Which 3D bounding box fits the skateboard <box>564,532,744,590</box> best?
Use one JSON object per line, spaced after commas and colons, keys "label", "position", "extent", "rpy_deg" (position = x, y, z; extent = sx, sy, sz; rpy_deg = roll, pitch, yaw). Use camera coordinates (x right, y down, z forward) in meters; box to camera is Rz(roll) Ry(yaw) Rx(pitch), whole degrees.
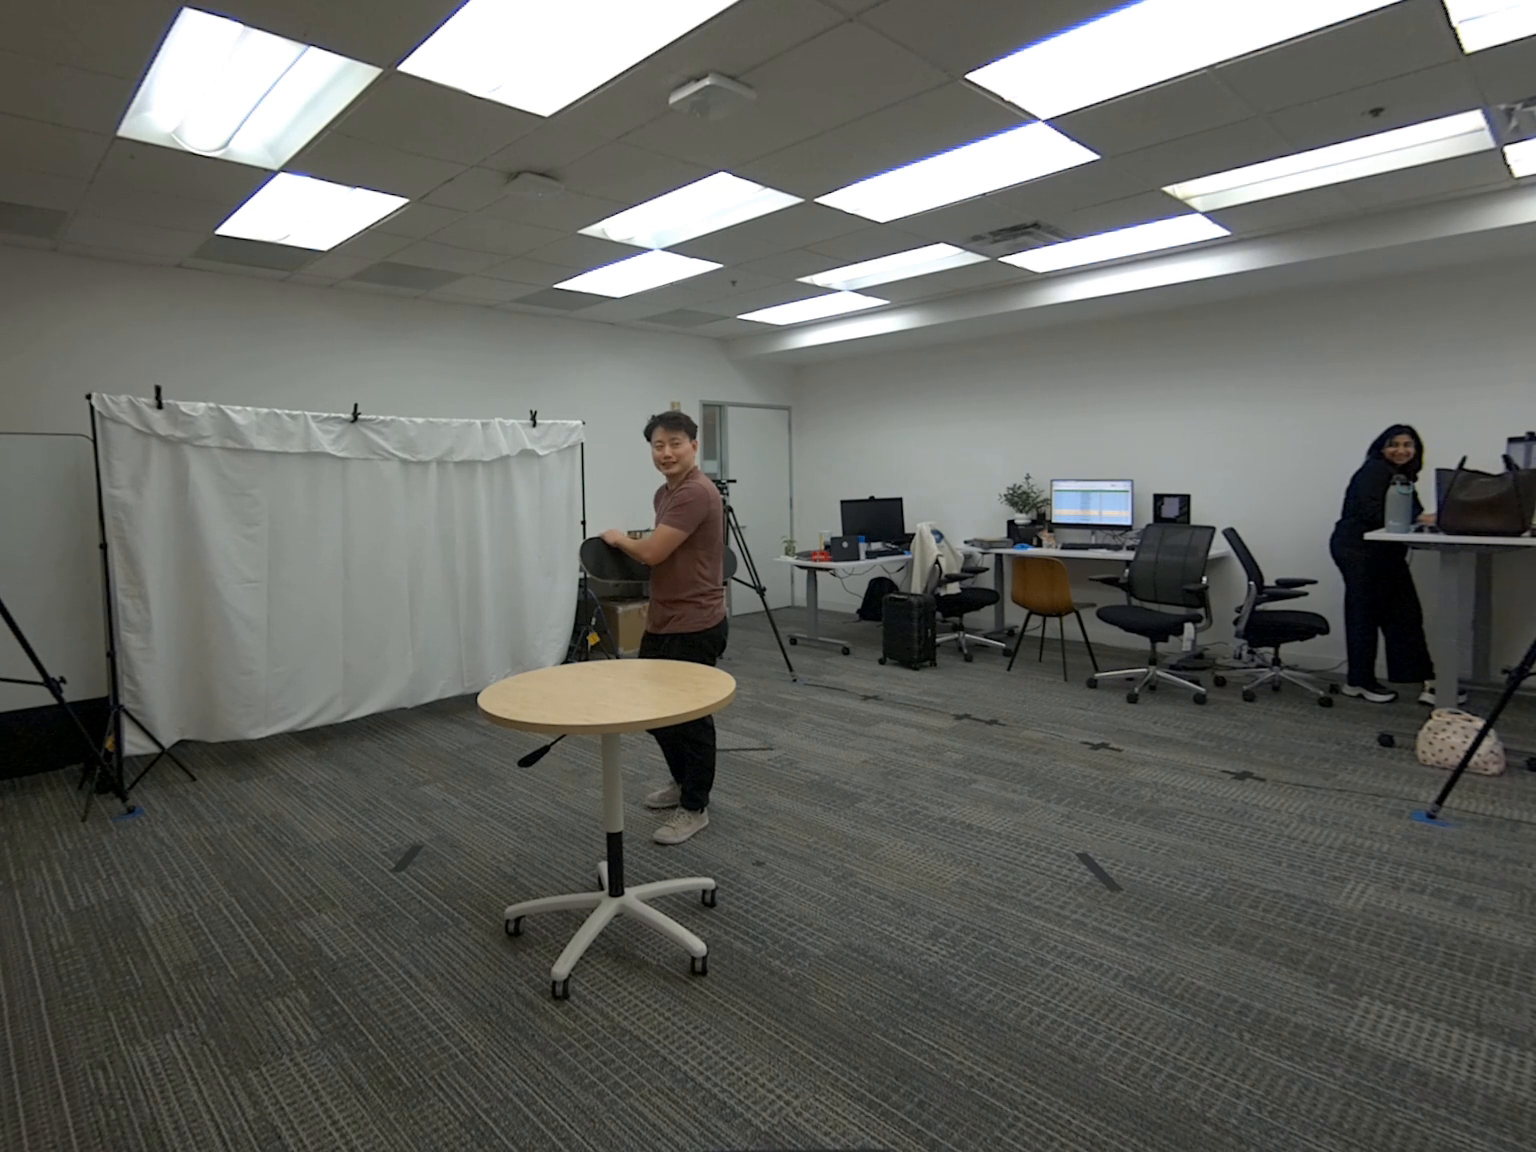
{"label": "skateboard", "position": [-0.461, -0.056, 3.582], "extent": [0.762, 0.197, 0.111], "rpy_deg": [1, -22, -39]}
